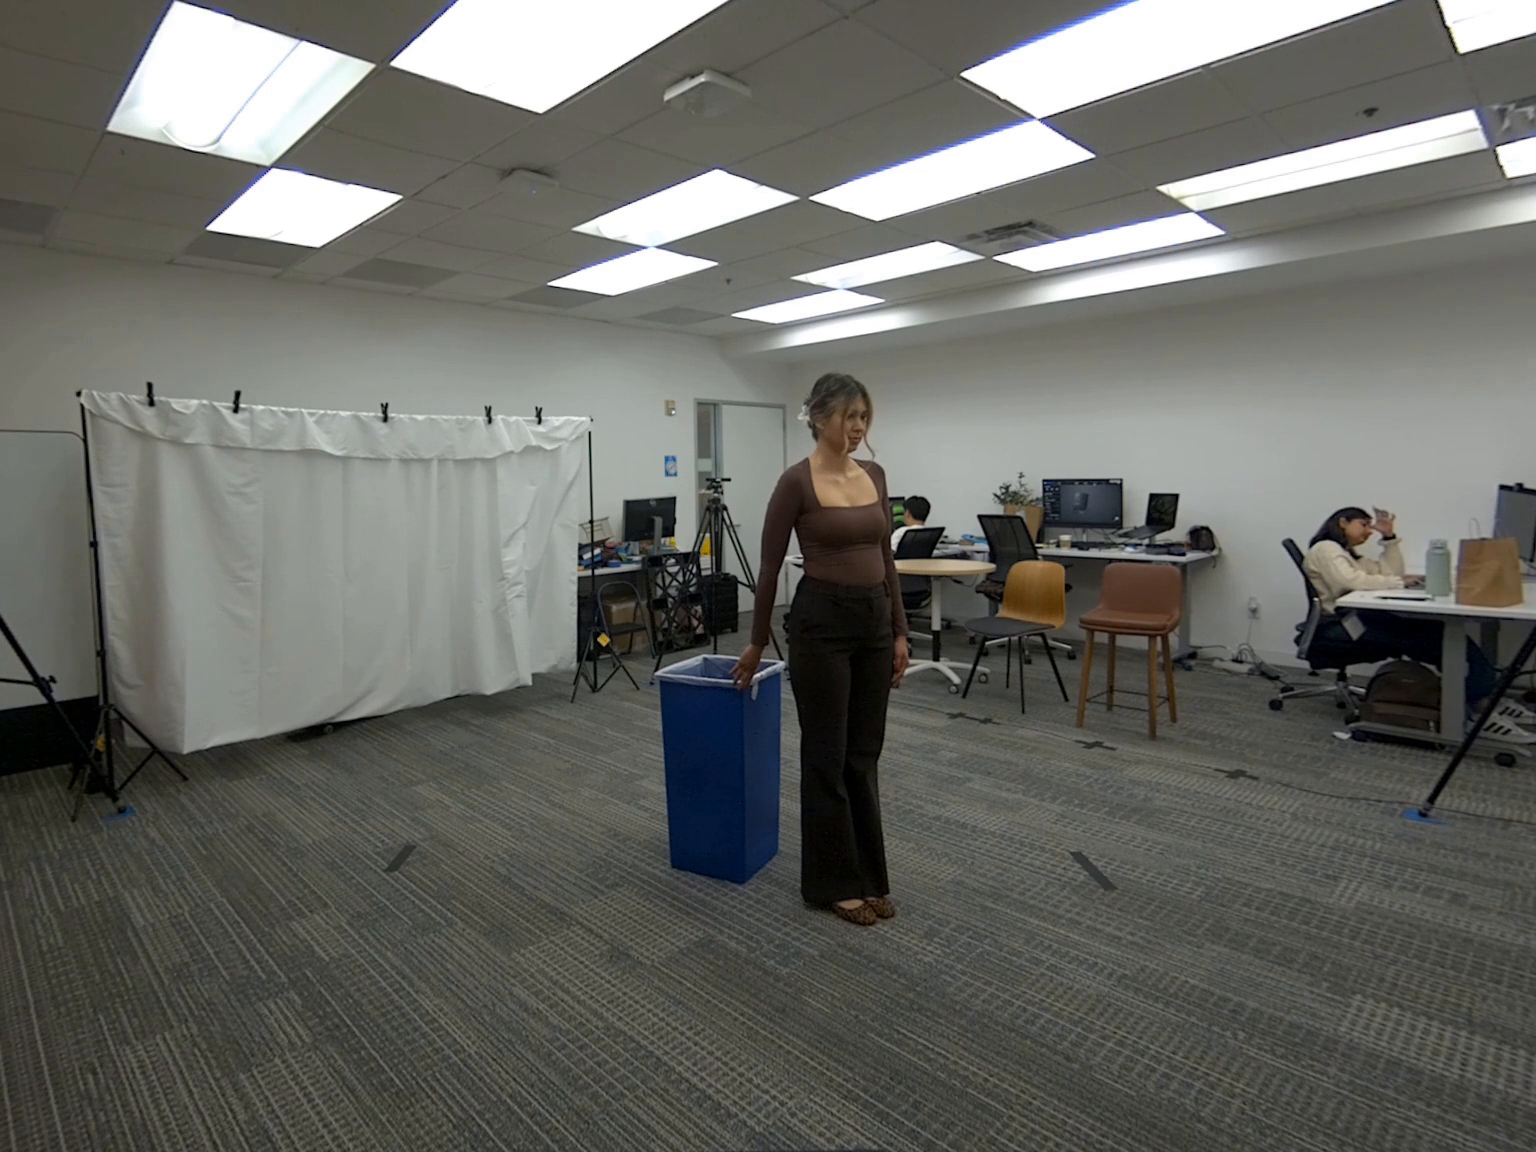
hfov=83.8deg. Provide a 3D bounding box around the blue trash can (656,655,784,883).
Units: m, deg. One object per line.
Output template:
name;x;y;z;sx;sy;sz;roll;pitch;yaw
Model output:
blue trash can;-0.157;0.683;3.116;0.387;0.712;0.366;1;3;26
